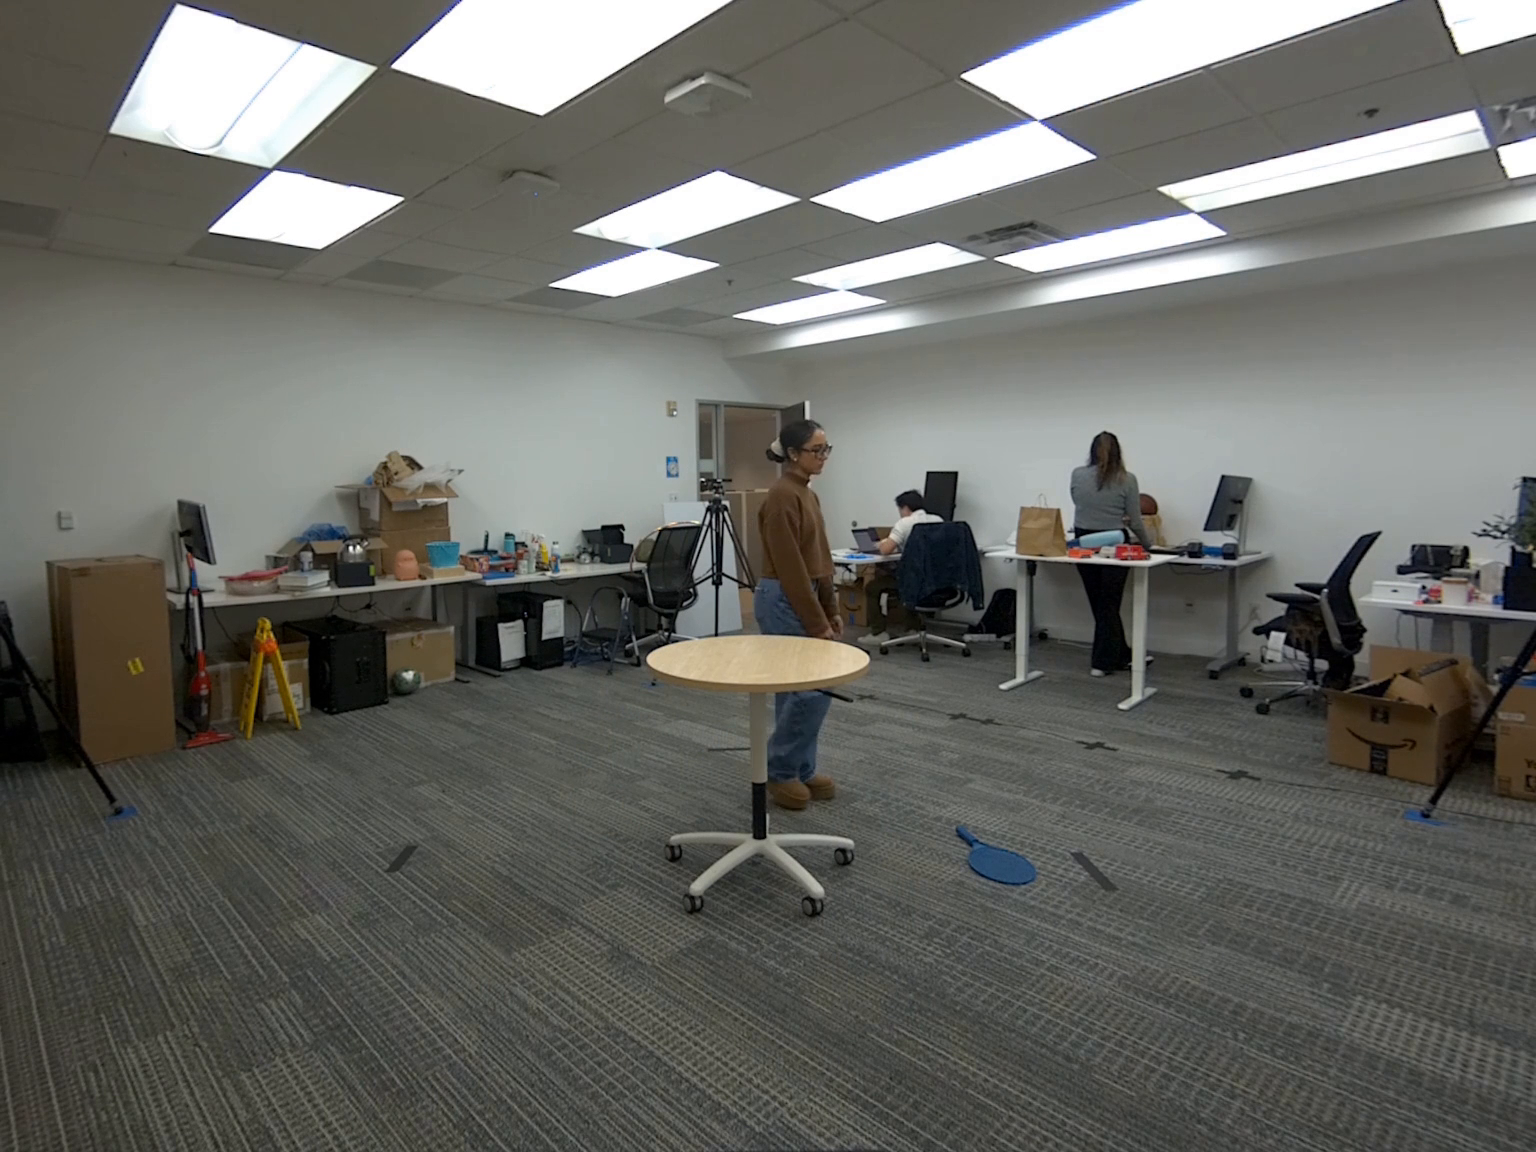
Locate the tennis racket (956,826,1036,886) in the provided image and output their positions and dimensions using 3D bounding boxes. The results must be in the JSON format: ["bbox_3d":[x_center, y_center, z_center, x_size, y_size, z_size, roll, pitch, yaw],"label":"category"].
[{"bbox_3d":[0.812,1.016,3.121,0.211,0.031,0.441,-2,8,-14],"label":"tennis racket"}]
